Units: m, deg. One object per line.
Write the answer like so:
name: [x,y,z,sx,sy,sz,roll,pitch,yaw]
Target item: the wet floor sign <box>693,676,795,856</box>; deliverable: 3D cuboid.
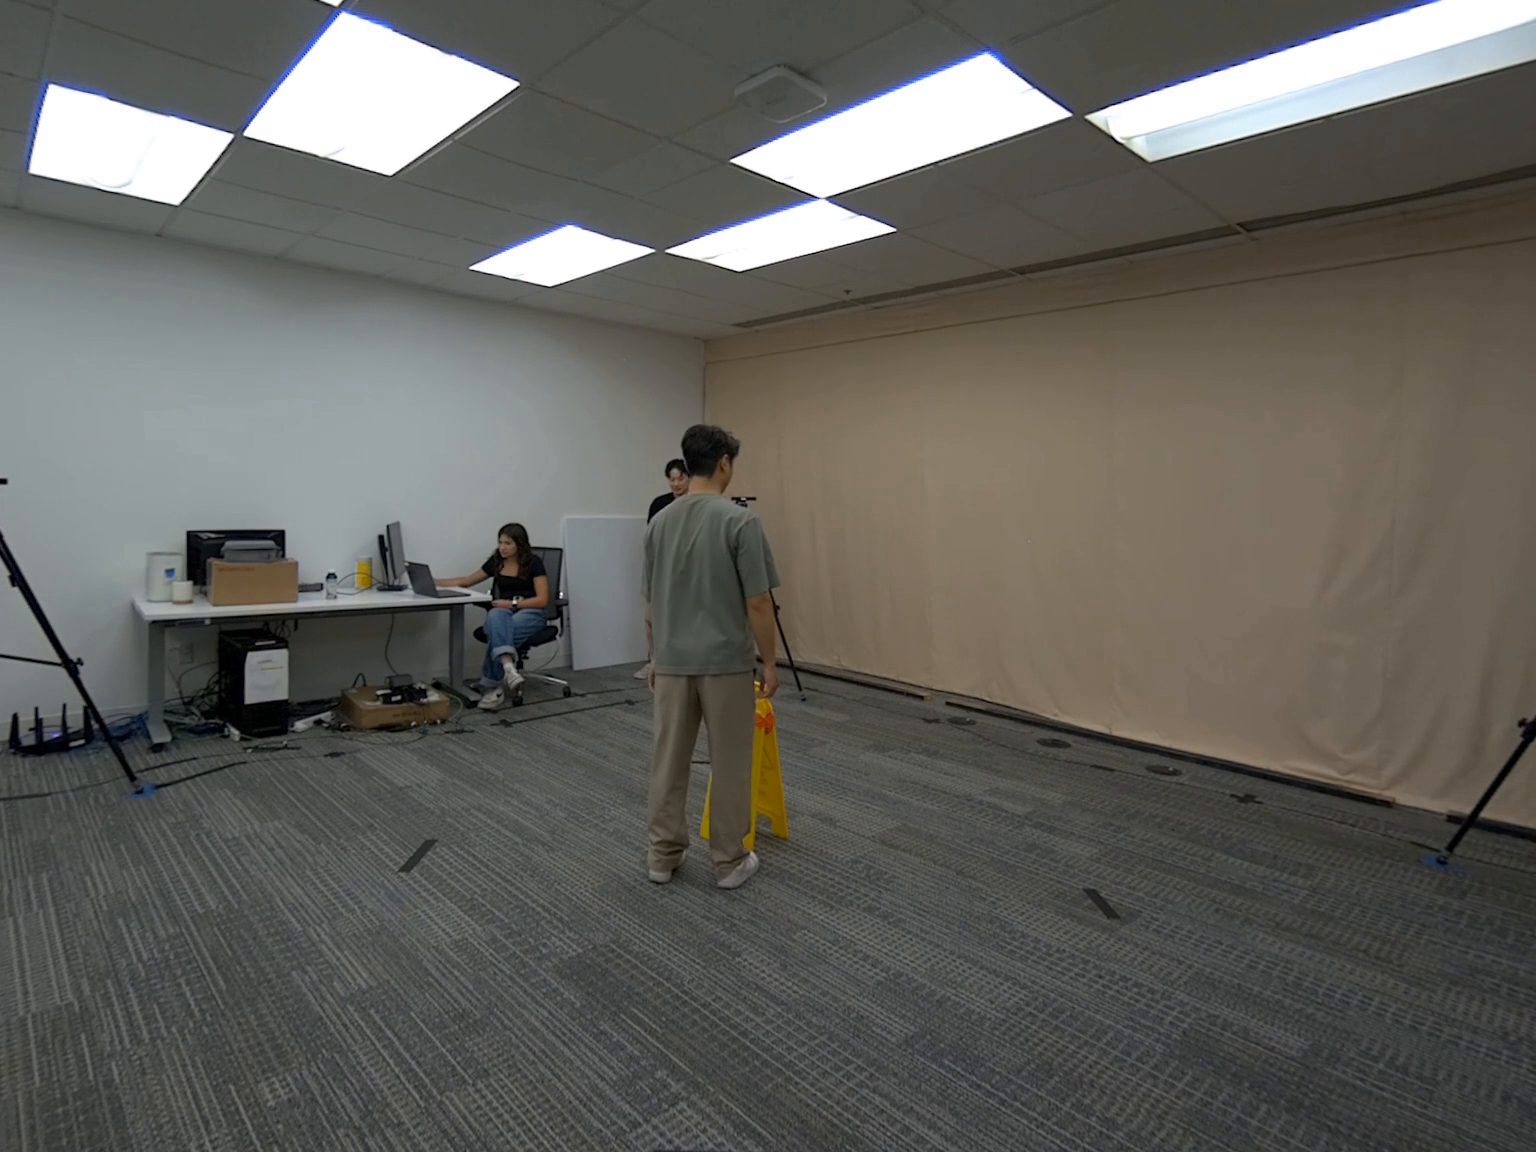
wet floor sign: [-0.099,0.756,3.451,0.289,0.645,0.283,3,3,41]
